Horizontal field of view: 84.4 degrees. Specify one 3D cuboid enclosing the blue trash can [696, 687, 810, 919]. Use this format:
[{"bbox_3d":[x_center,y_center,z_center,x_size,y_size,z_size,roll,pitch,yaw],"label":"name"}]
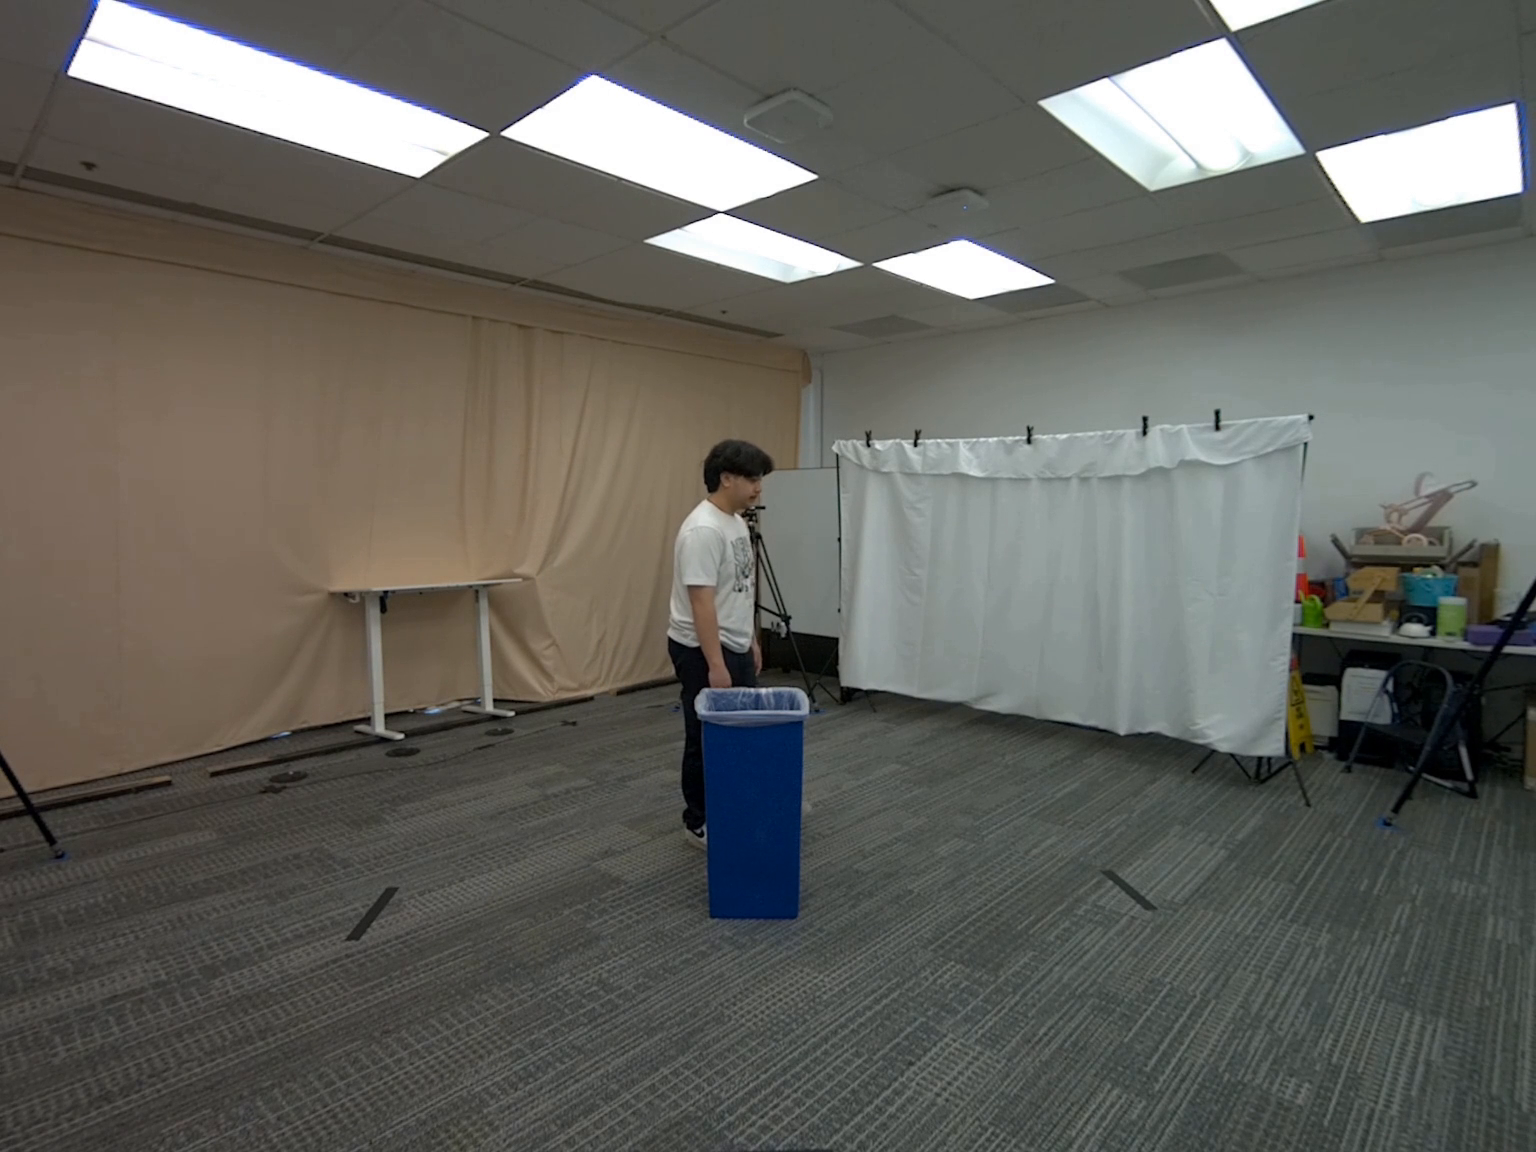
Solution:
[{"bbox_3d":[-0.049,0.789,2.963,0.378,0.712,0.374,0,3,0],"label":"blue trash can"}]
